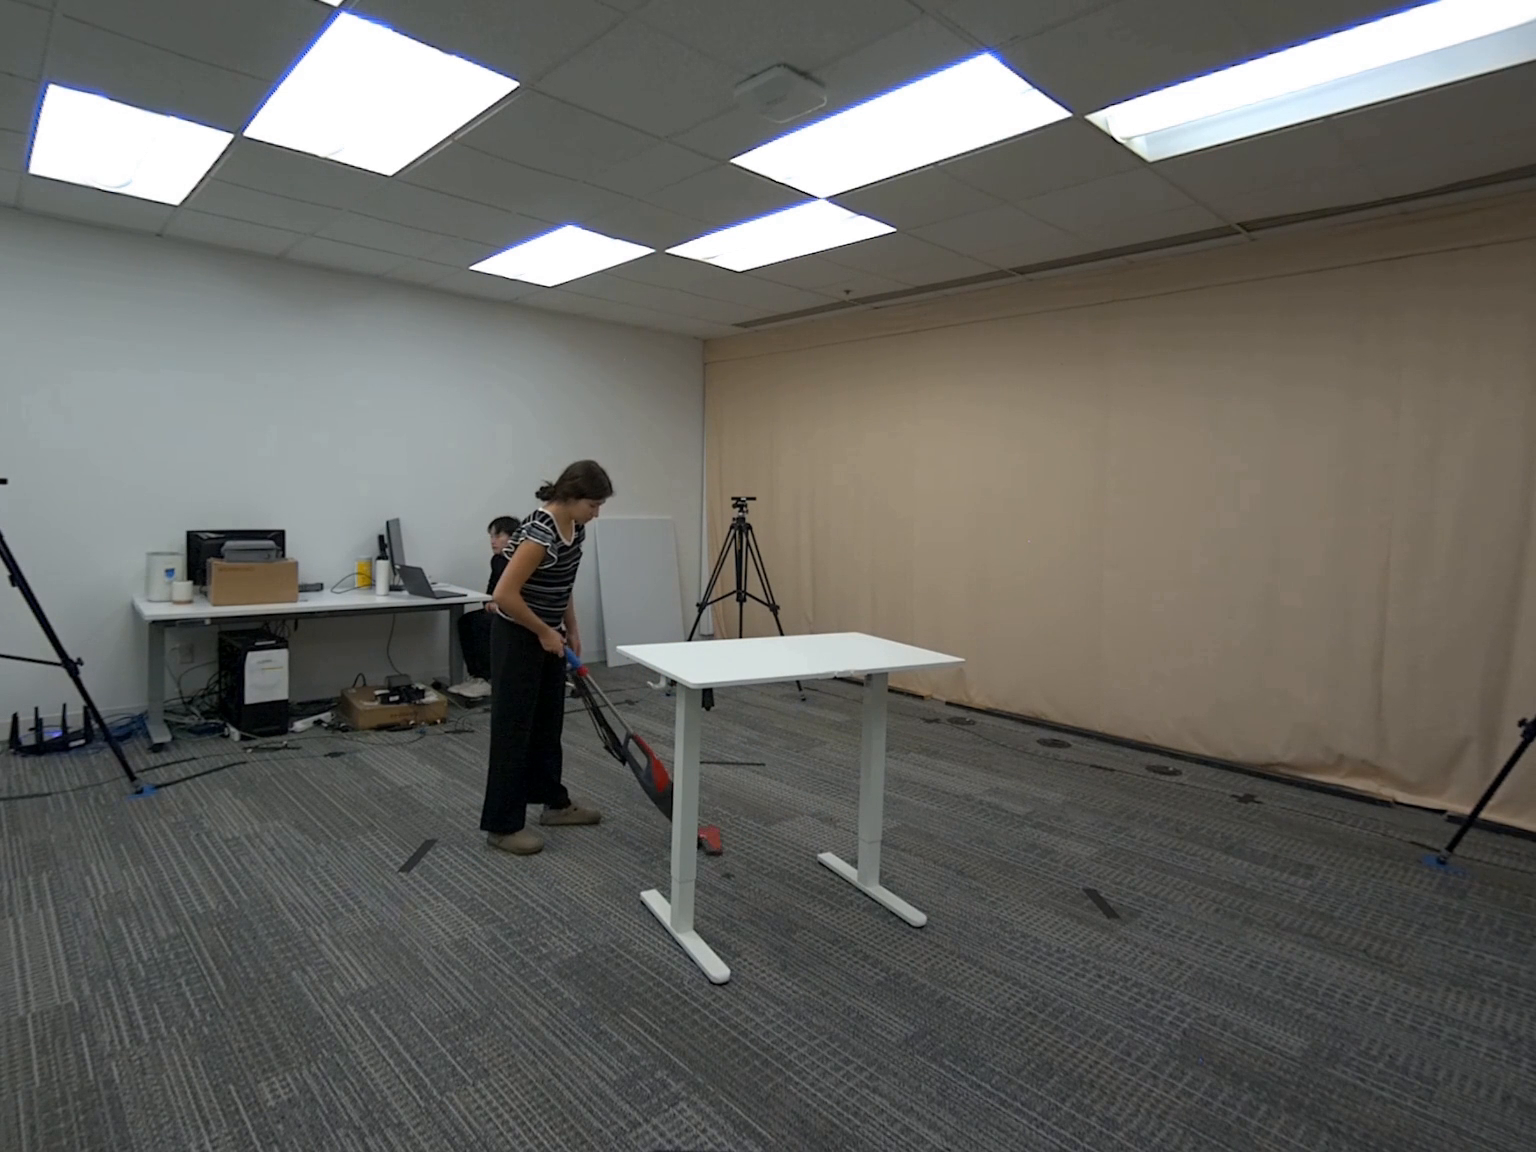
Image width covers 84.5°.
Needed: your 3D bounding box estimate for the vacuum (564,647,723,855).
[{"bbox_3d":[-0.577,0.663,3.357,0.144,1.044,0.254,-38,5,-7],"label":"vacuum"}]
